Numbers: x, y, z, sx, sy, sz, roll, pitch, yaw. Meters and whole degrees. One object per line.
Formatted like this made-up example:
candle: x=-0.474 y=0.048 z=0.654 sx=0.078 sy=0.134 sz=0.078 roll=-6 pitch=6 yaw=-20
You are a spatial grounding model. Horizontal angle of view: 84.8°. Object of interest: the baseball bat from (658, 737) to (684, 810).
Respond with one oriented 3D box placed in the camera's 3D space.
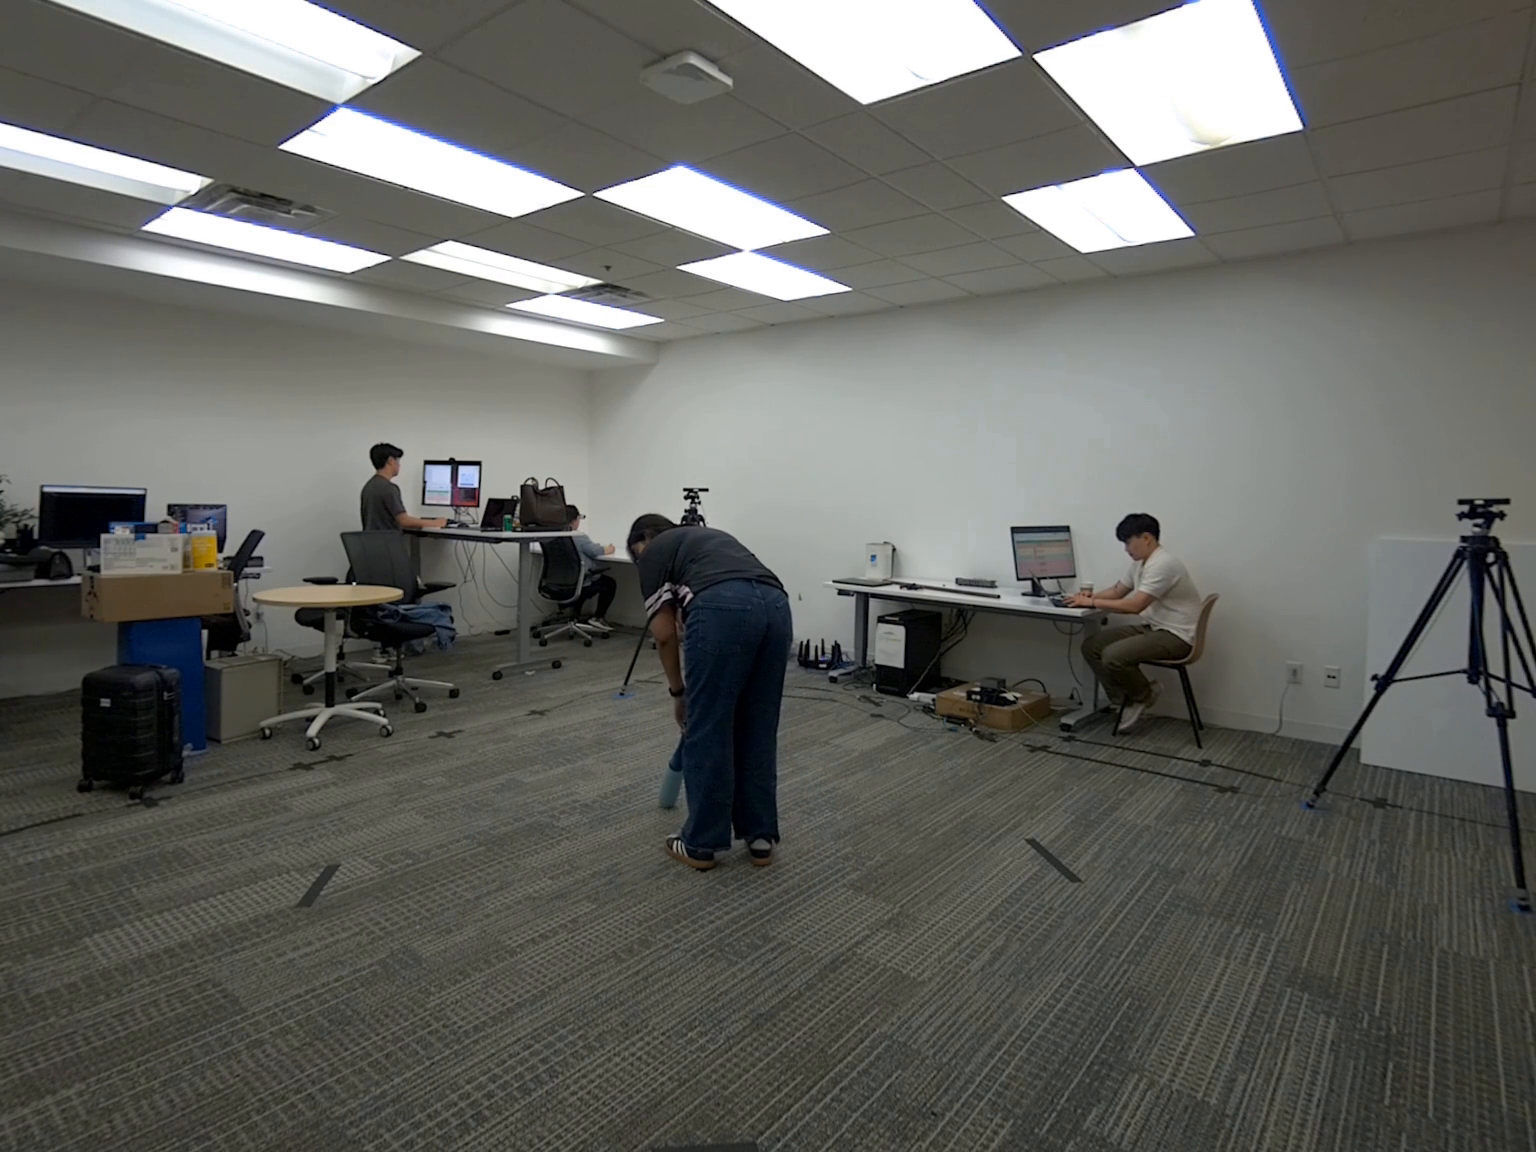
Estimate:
baseball bat: x=-0.398 y=0.787 z=3.578 sx=0.088 sy=0.532 sz=0.091 roll=9 pitch=39 yaw=-9
